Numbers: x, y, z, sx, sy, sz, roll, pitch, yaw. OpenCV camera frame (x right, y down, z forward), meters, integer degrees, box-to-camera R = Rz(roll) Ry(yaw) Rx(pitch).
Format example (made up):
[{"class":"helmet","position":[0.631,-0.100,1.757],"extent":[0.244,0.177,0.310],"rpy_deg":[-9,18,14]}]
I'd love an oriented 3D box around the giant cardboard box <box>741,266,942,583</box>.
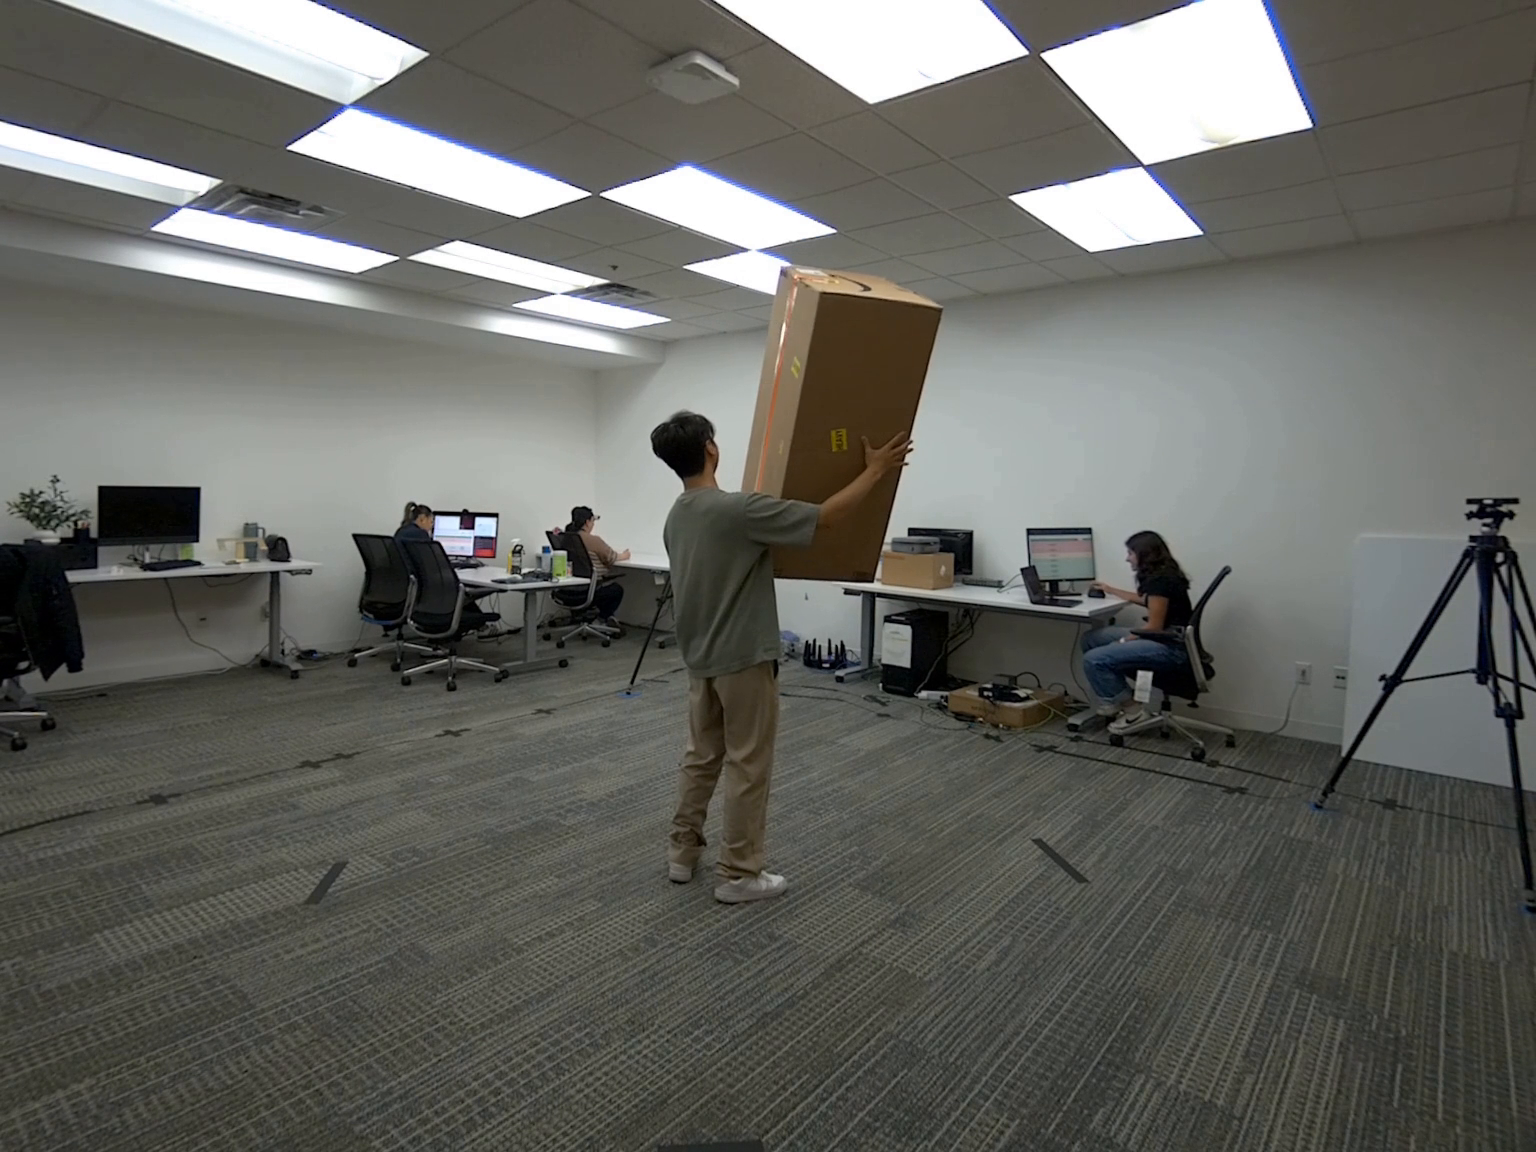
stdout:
[{"class":"giant cardboard box","position":[0.205,-0.562,3.151],"extent":[0.420,1.008,0.596],"rpy_deg":[4,26,-15]}]
